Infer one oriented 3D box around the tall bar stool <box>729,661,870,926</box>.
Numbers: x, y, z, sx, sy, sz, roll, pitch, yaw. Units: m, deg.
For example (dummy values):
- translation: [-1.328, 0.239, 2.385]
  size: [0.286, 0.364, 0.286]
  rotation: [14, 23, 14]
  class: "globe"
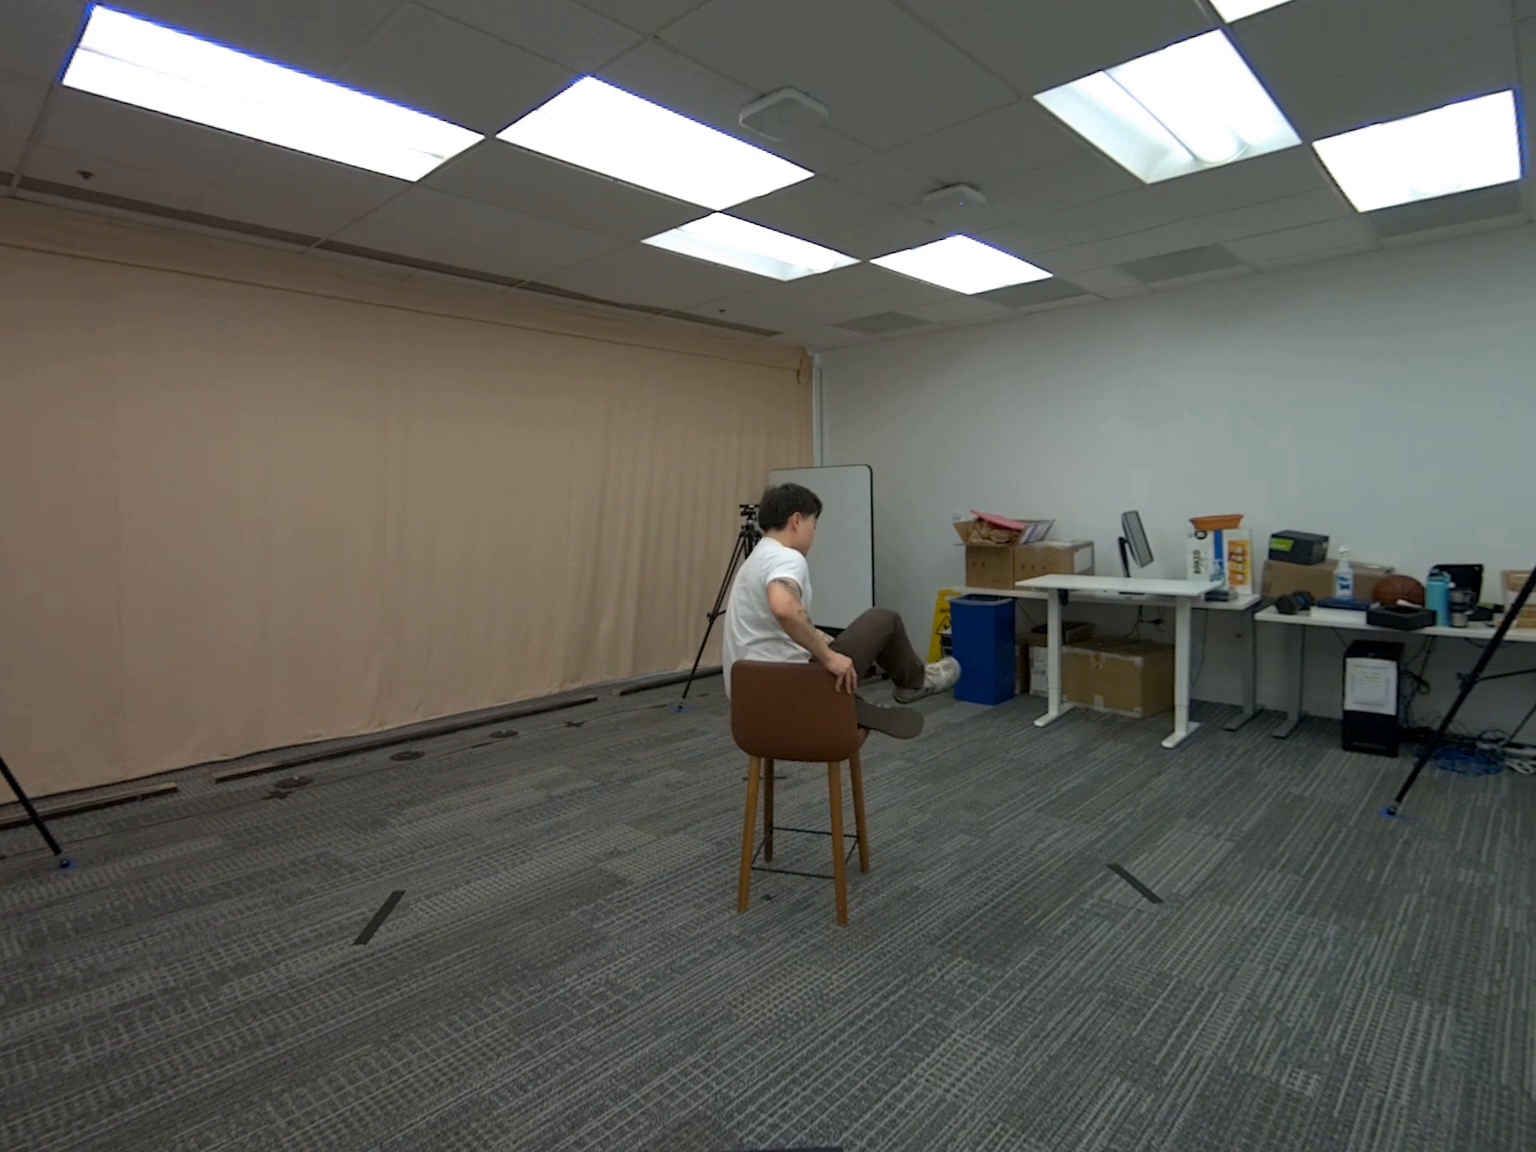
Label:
- translation: [0.125, 0.702, 3.006]
  size: [0.466, 0.886, 0.460]
  rotation: [0, 6, 18]
  class: "tall bar stool"
